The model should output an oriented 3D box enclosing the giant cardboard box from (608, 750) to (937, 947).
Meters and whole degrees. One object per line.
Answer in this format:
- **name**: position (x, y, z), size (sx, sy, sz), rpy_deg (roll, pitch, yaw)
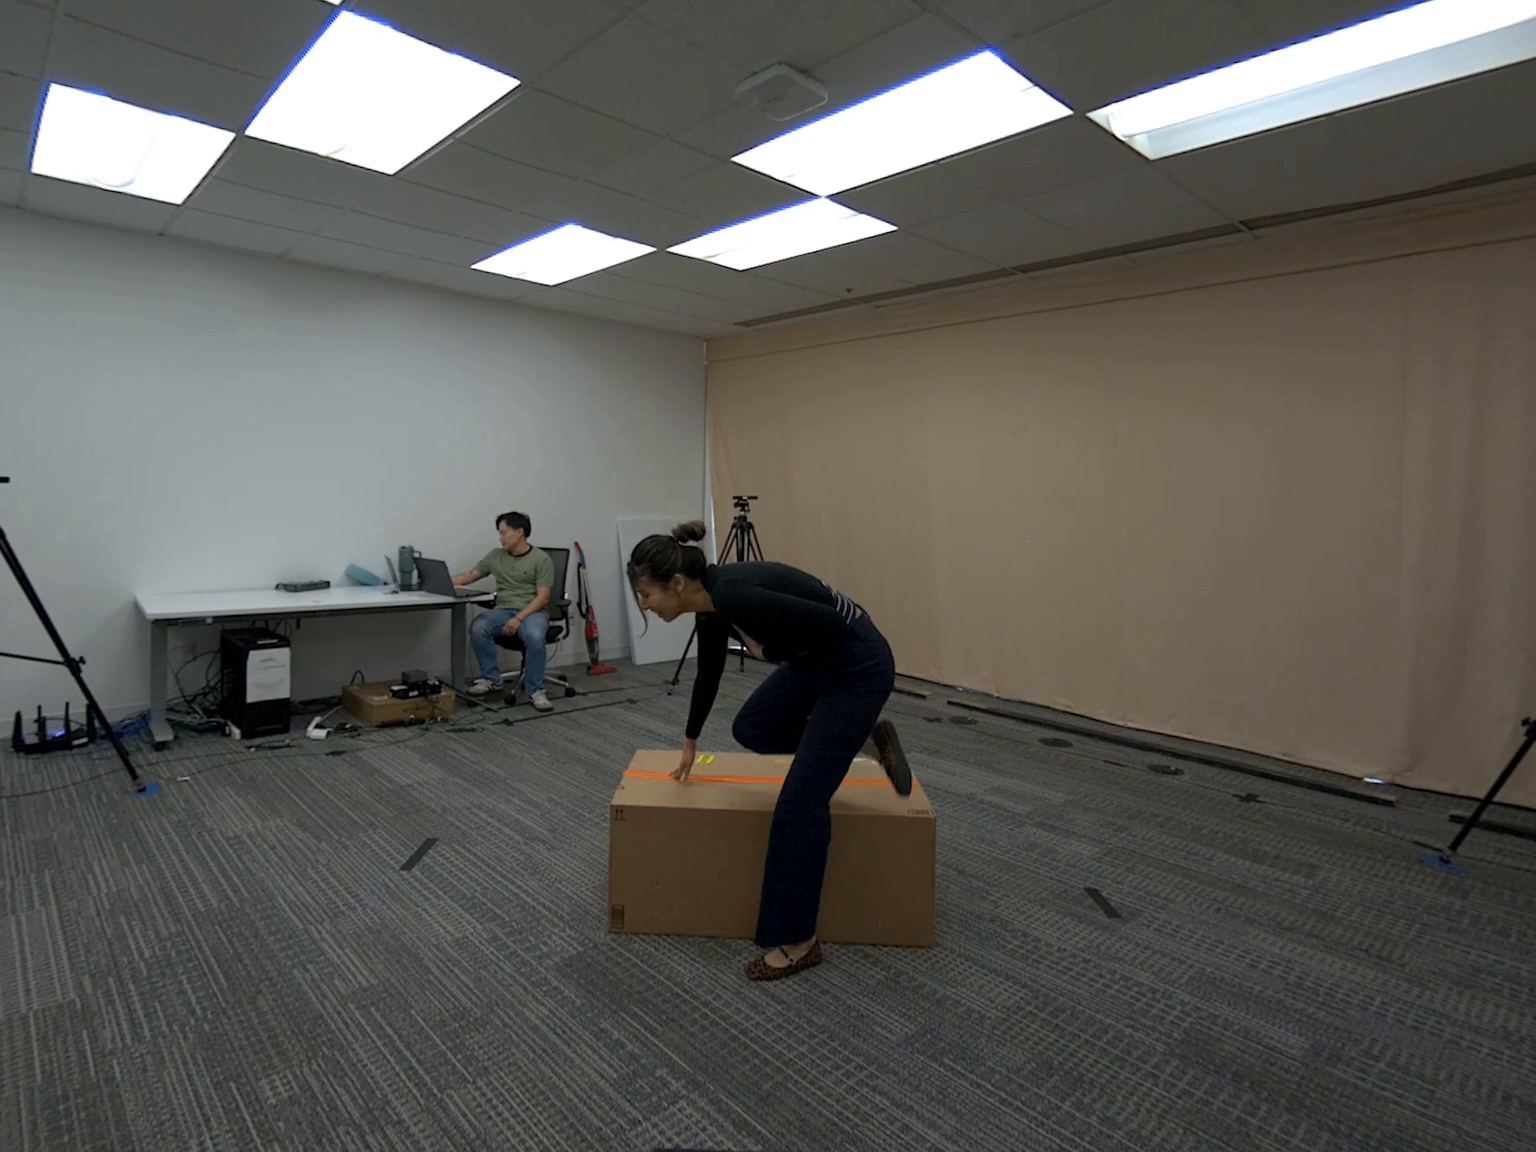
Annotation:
- **giant cardboard box**: position (0.004, 0.908, 2.915), size (1.028, 0.425, 0.578), rpy_deg (1, 4, 2)
